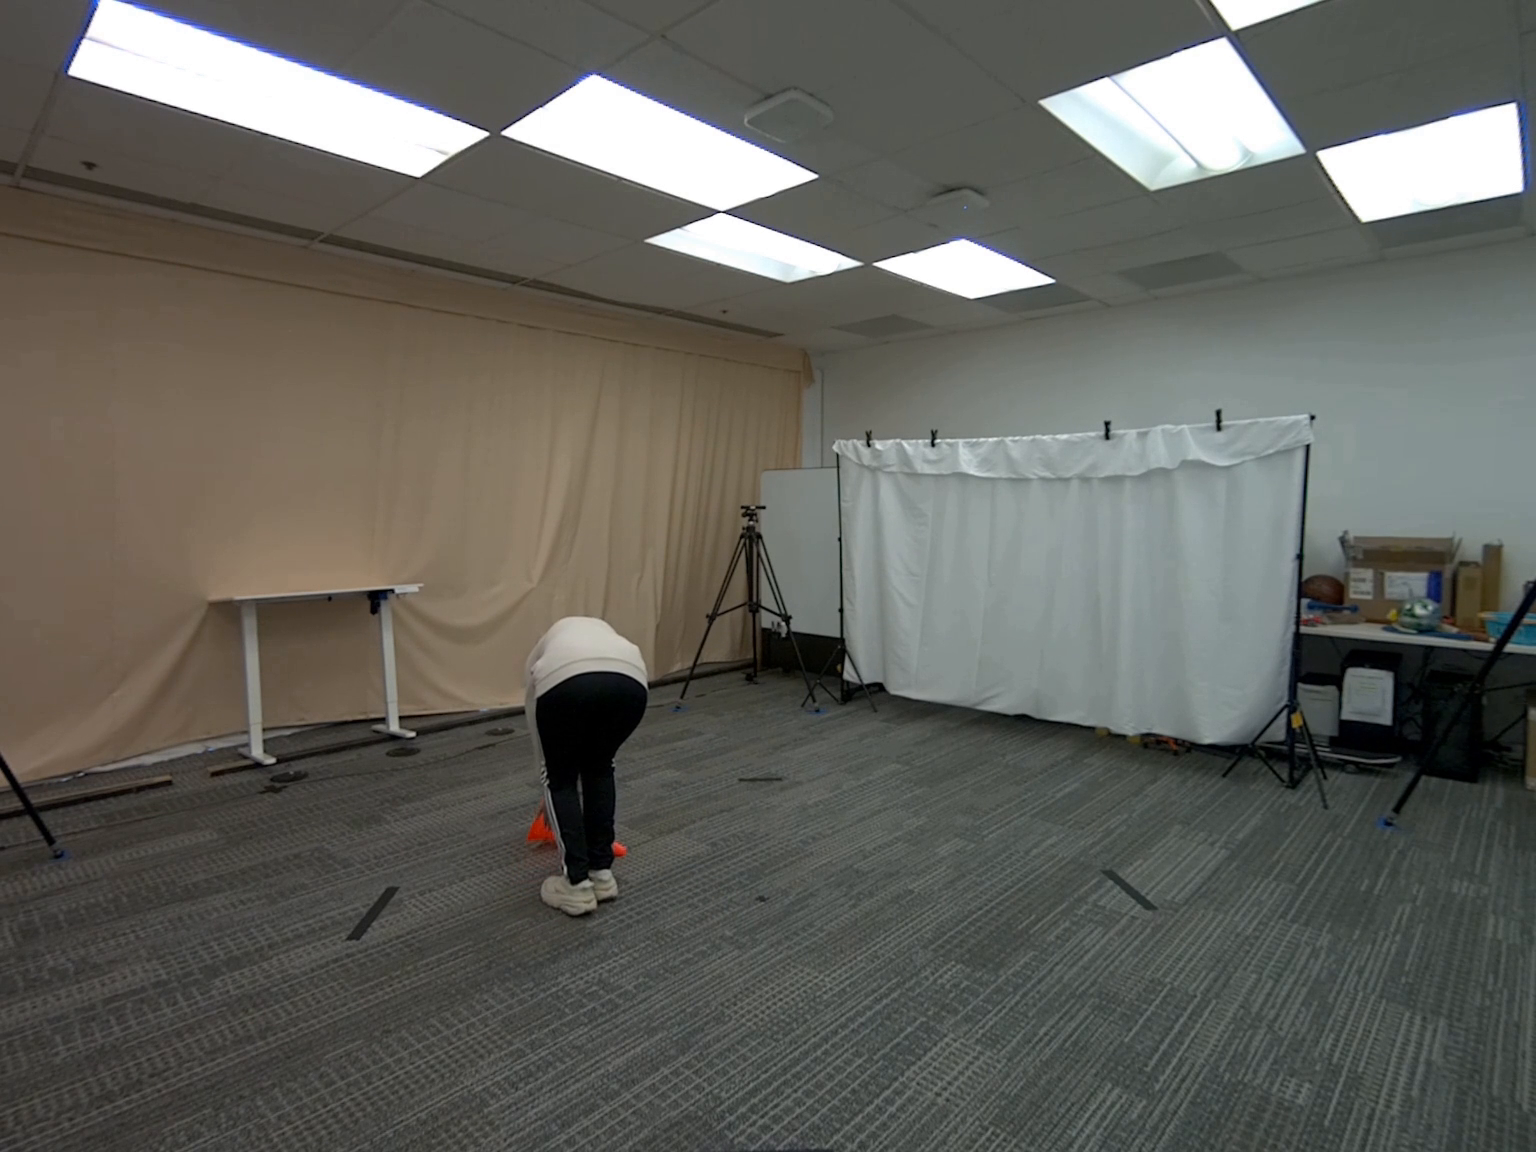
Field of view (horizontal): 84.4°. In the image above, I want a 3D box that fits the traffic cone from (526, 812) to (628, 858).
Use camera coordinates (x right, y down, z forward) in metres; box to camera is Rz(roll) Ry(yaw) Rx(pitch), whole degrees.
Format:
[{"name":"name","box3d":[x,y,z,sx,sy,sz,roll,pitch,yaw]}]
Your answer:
[{"name":"traffic cone","box3d":[-0.752,1.060,3.411,0.391,0.205,0.199,18,-6,16]}]
